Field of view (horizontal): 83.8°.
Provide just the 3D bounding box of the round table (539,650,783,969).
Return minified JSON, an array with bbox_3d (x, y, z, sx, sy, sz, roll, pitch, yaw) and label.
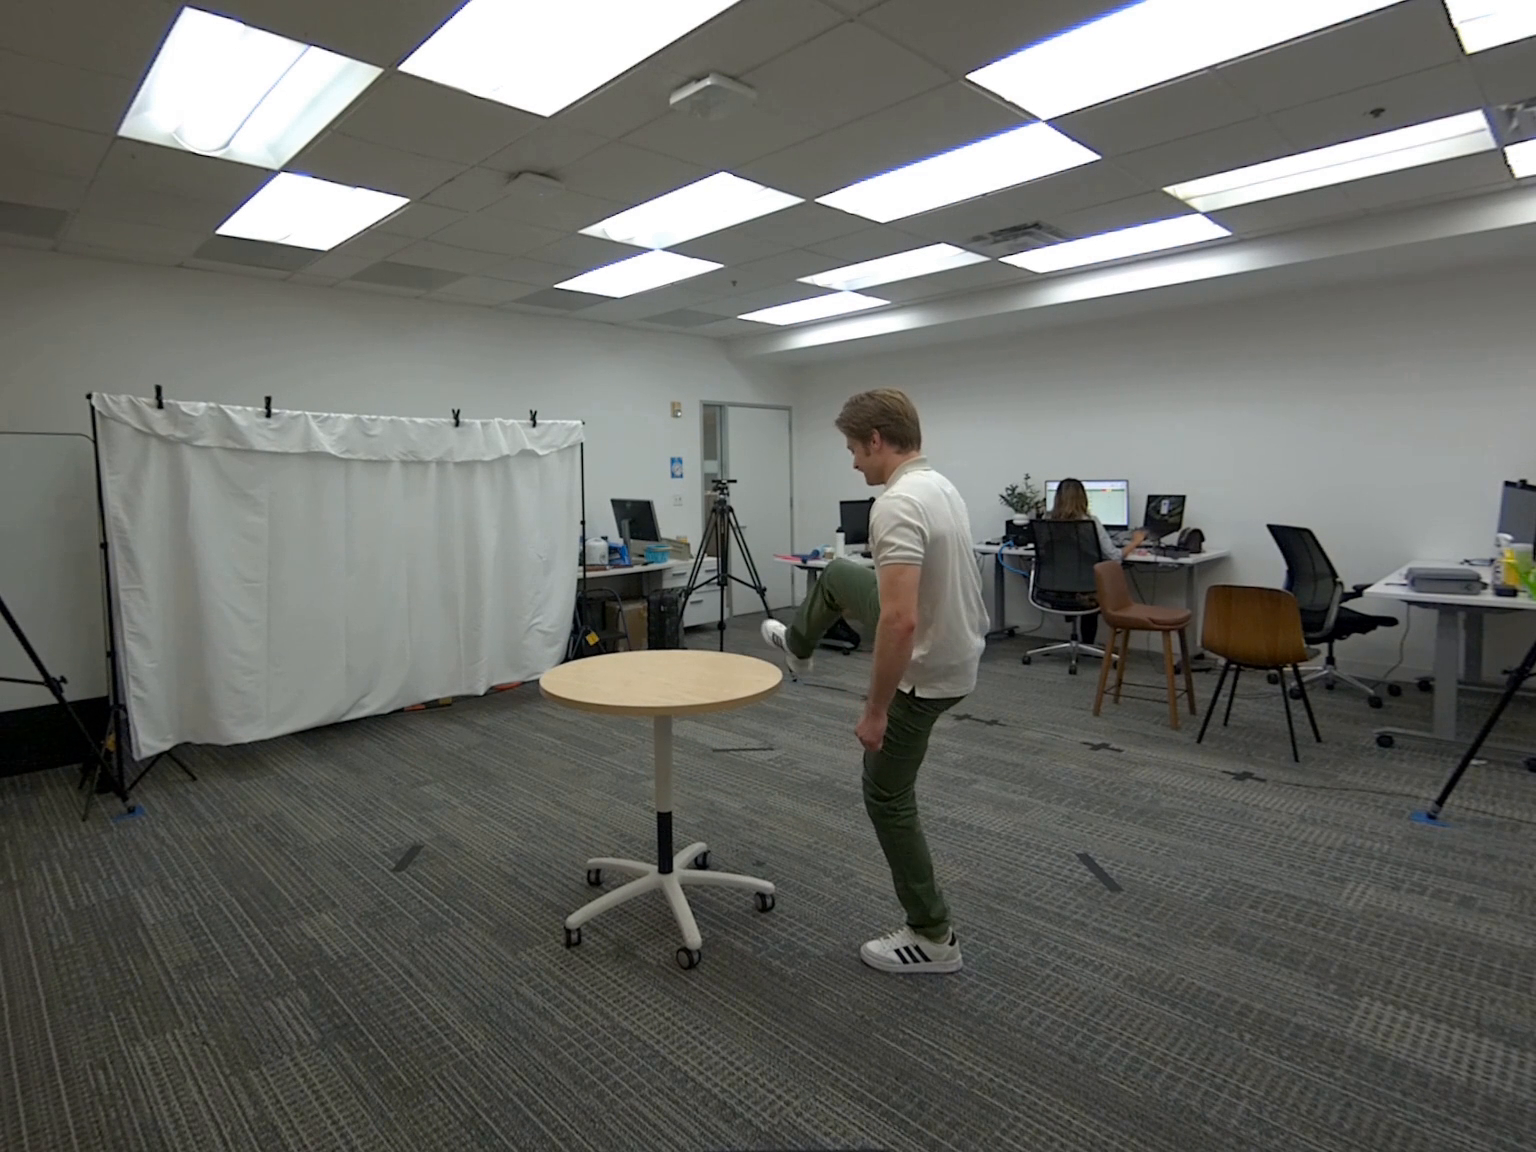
[{"bbox_3d":[-0.335,0.705,2.748,0.763,0.790,0.768,-1,5,-2],"label":"round table"}]
